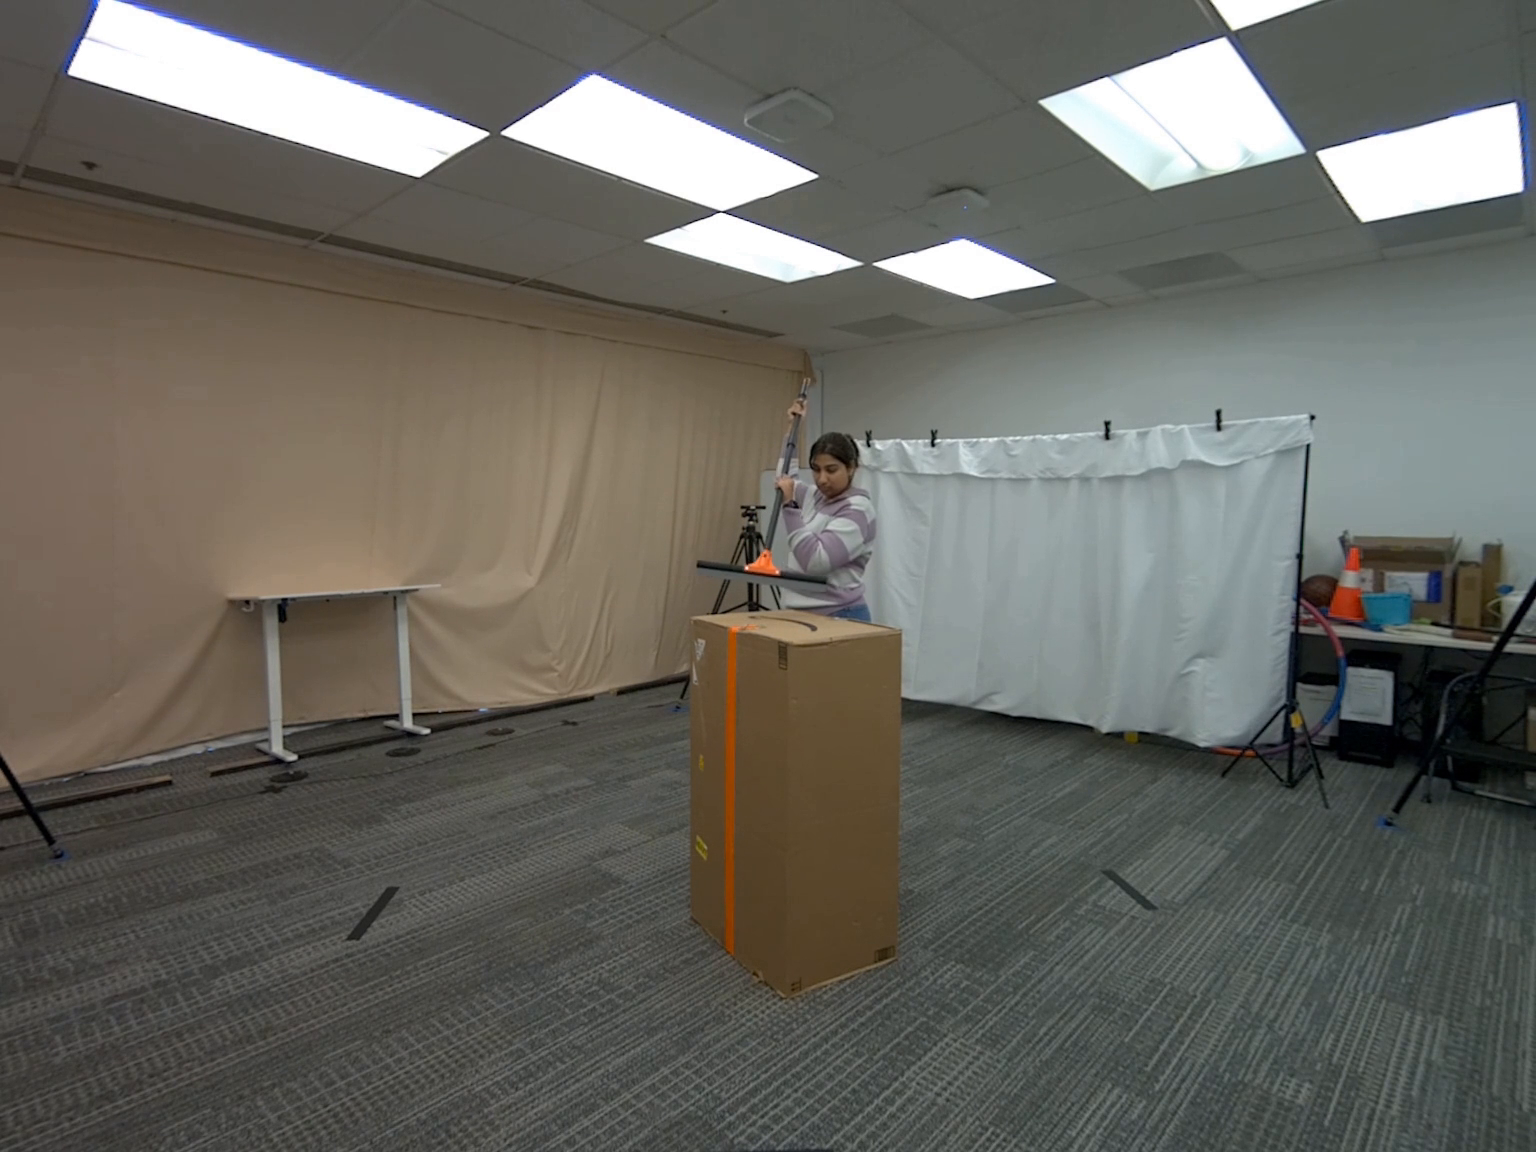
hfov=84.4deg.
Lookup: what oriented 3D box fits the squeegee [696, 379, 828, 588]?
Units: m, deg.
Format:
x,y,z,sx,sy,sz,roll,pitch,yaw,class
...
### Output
x,y,z,sx,sy,sz,roll,pitch,yaw,class
0.079,-0.455,3.349,0.440,0.052,1.554,5,39,5,squeegee
